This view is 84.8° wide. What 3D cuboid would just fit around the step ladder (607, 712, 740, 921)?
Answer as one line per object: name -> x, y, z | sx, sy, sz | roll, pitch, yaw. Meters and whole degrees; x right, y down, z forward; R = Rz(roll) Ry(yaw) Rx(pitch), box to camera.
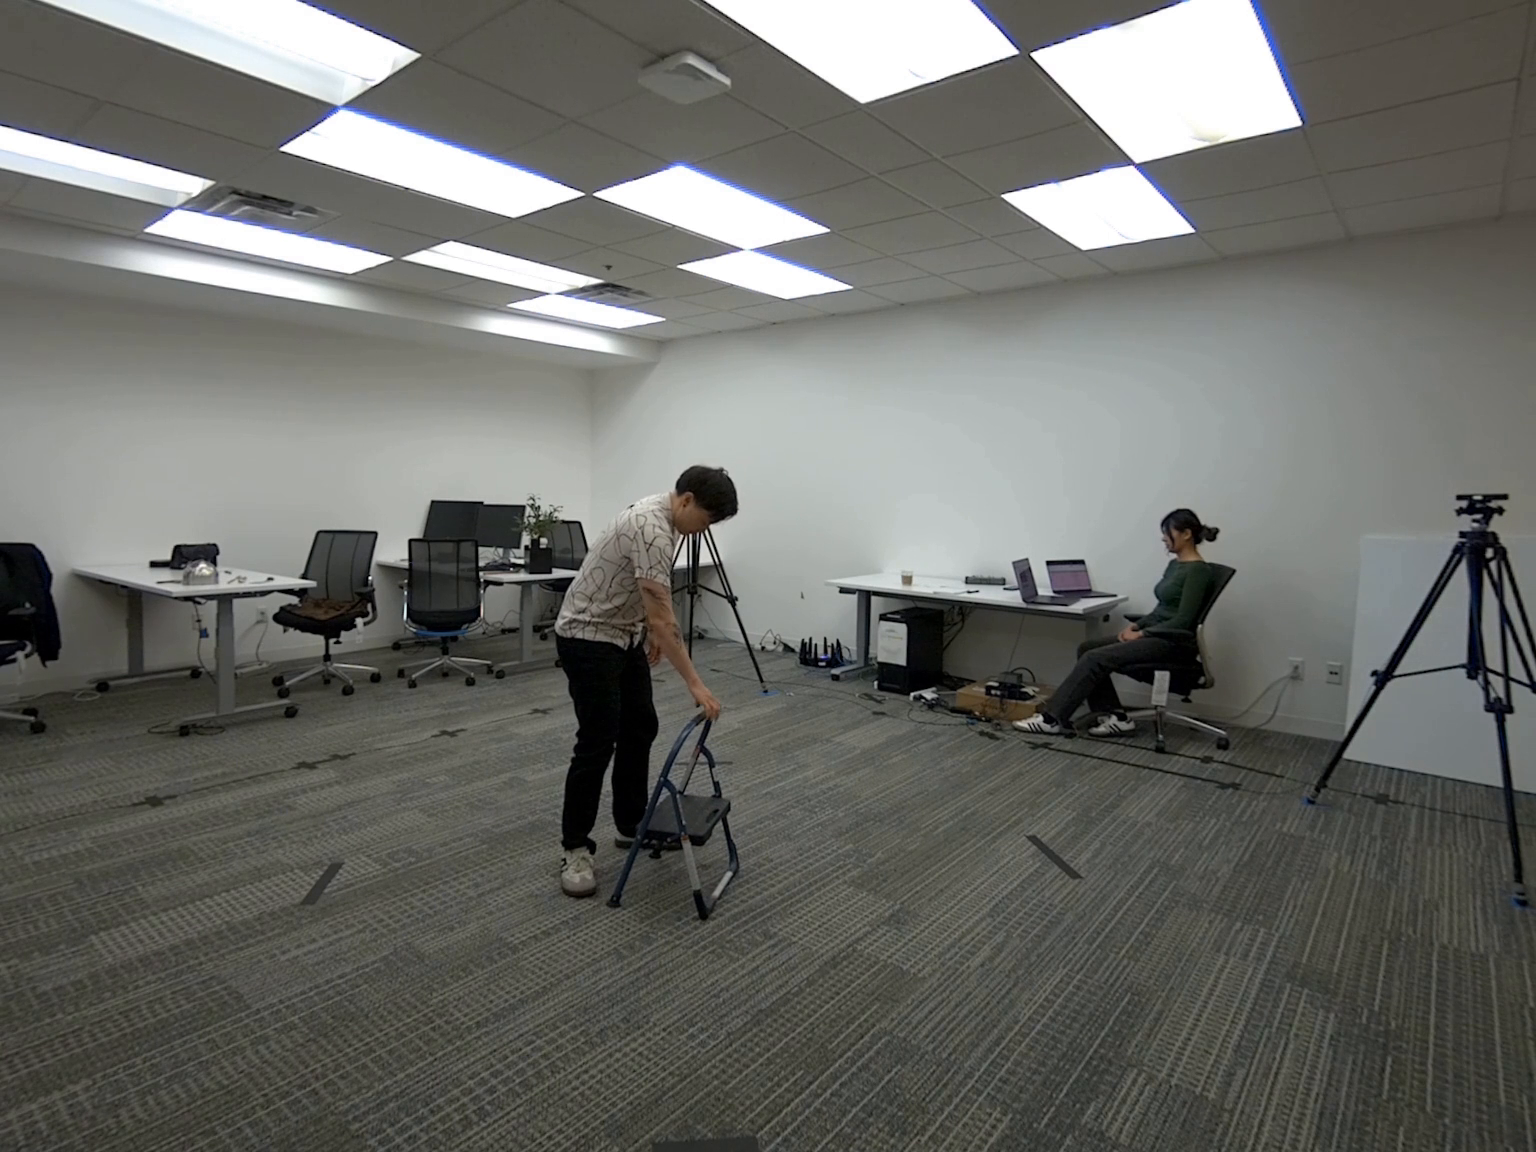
step ladder -> -0.319, 0.776, 2.947 | 0.355, 0.604, 0.425 | 1, 4, 14
